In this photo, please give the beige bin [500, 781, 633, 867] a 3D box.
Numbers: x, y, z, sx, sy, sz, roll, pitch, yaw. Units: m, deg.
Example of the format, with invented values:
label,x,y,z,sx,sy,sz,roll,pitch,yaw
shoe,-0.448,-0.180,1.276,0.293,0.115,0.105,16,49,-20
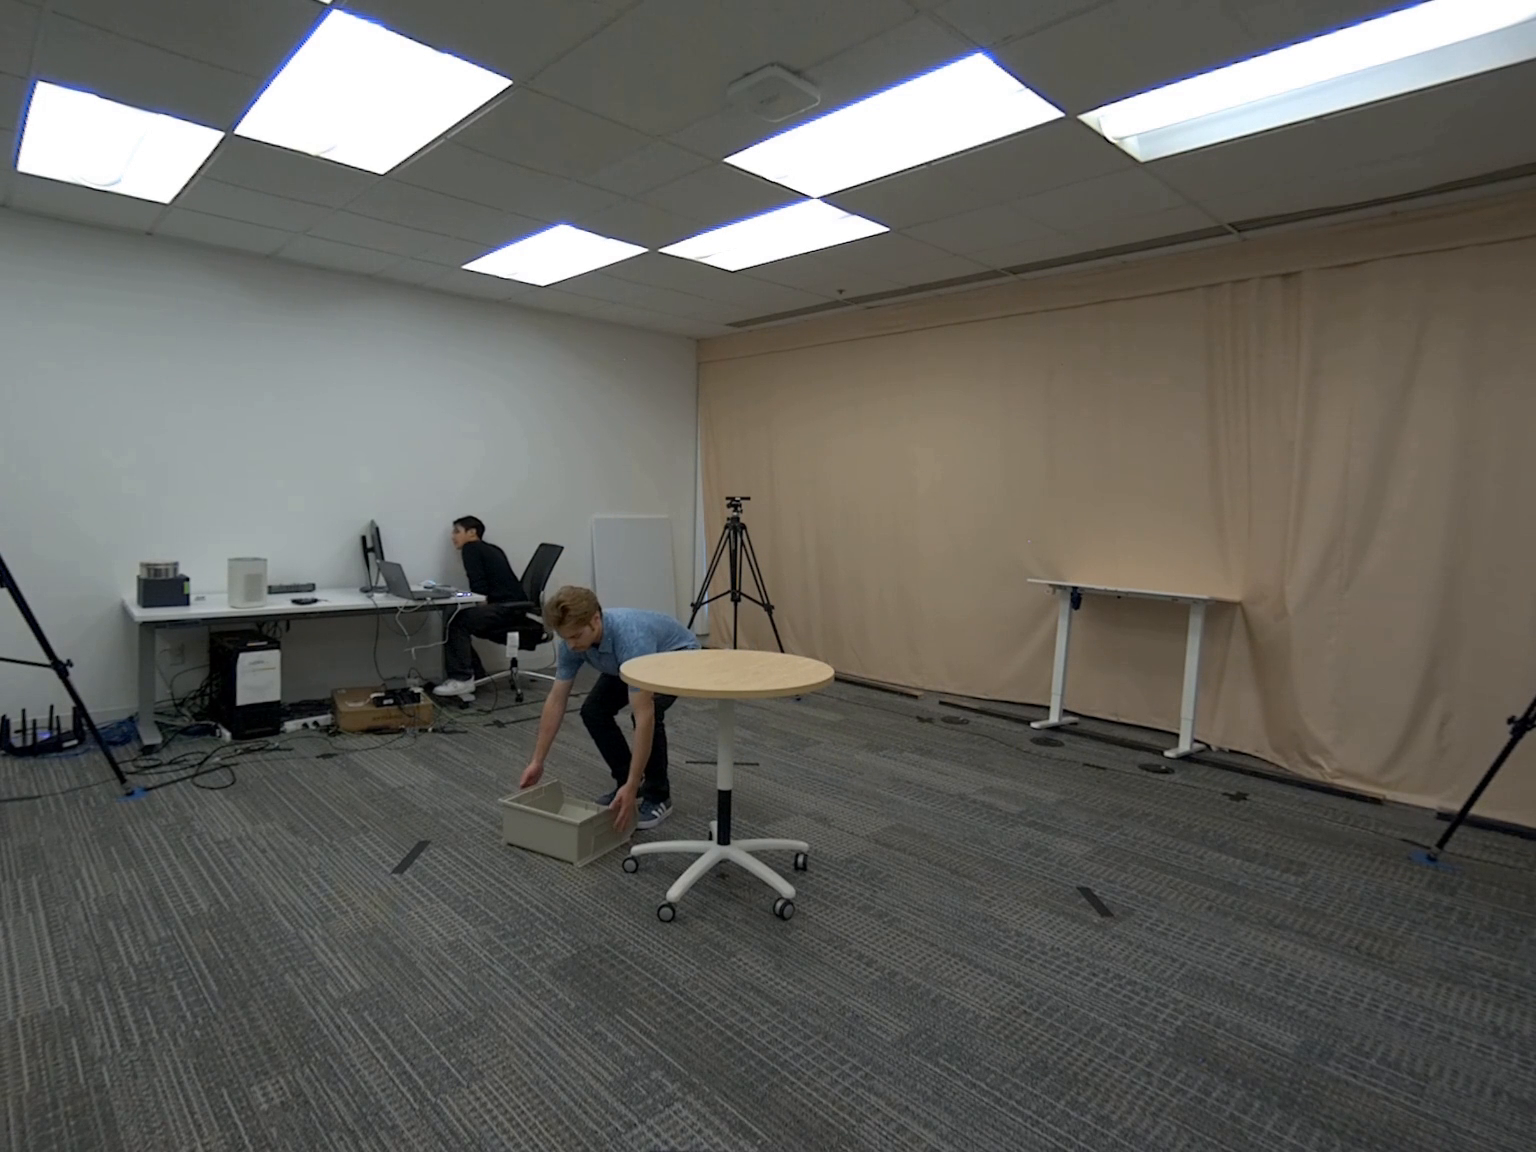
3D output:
label,x,y,z,sx,sy,sz,roll,pitch,yaw
beige bin,-0.809,0.981,3.390,0.432,0.188,0.370,4,6,30
